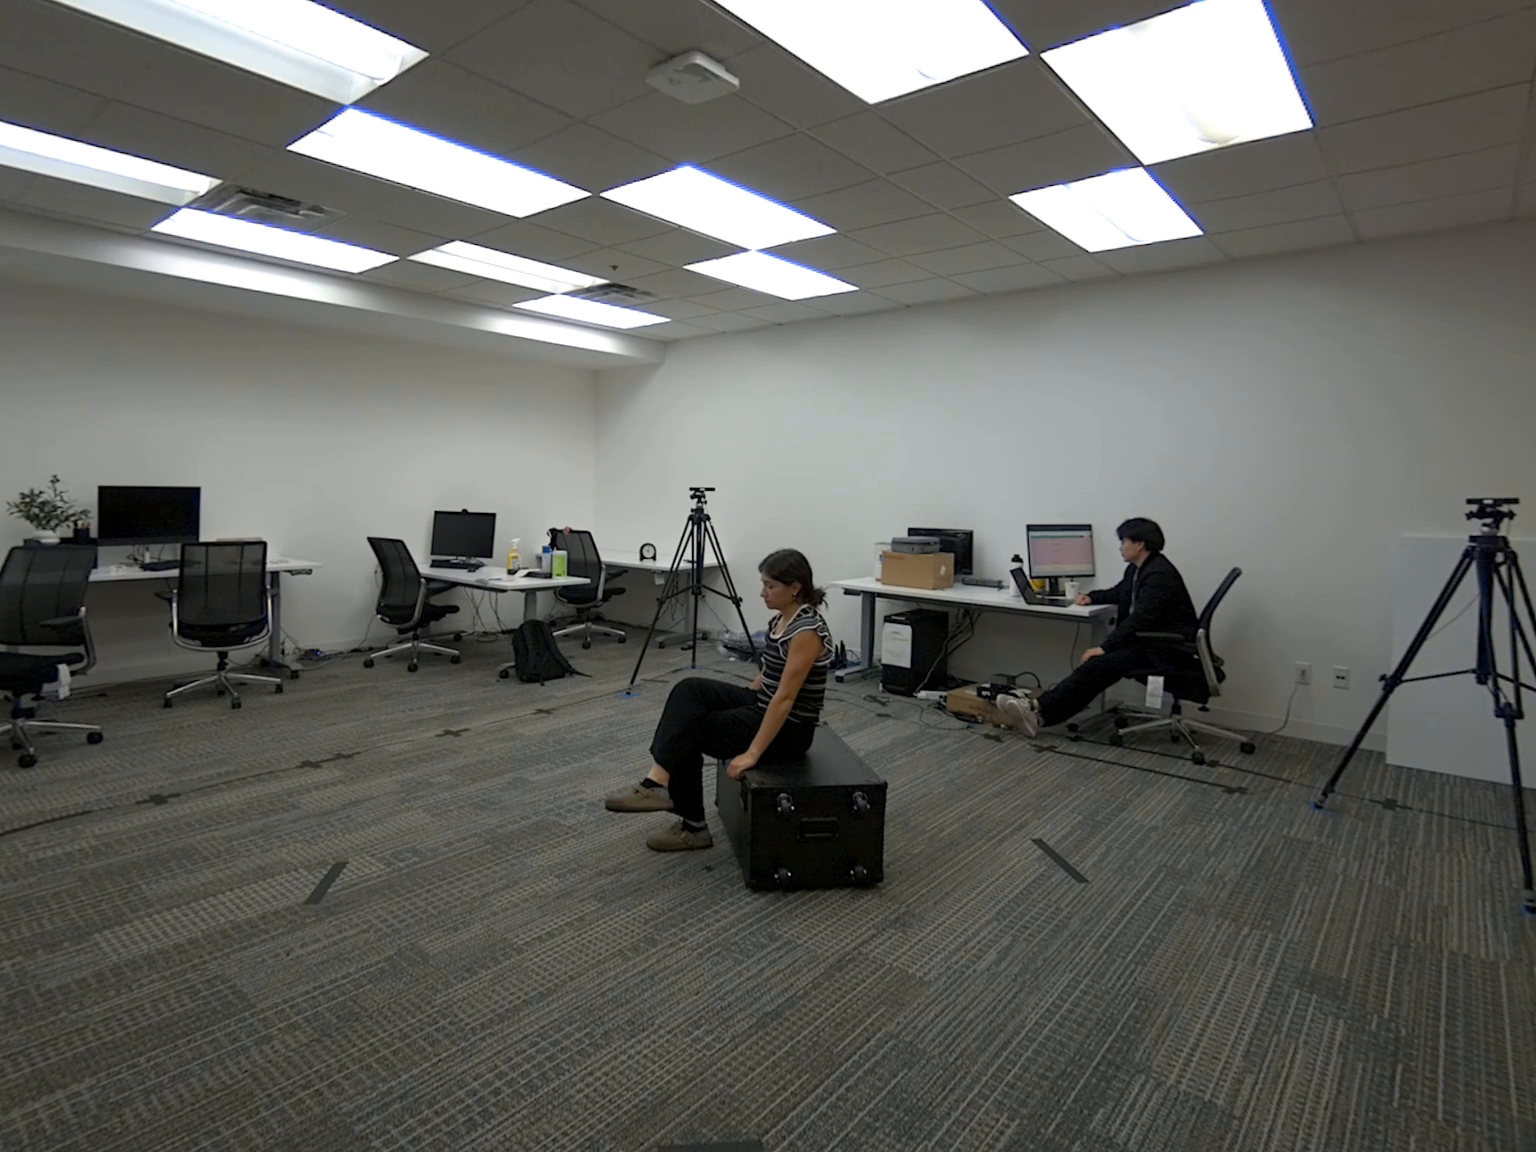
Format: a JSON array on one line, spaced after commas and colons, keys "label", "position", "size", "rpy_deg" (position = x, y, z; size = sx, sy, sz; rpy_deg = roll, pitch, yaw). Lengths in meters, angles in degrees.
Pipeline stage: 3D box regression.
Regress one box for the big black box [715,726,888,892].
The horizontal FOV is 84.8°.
[{"label": "big black box", "position": [0.089, 0.862, 3.285], "size": [0.515, 0.395, 0.875], "rpy_deg": [0, 5, -12]}]
